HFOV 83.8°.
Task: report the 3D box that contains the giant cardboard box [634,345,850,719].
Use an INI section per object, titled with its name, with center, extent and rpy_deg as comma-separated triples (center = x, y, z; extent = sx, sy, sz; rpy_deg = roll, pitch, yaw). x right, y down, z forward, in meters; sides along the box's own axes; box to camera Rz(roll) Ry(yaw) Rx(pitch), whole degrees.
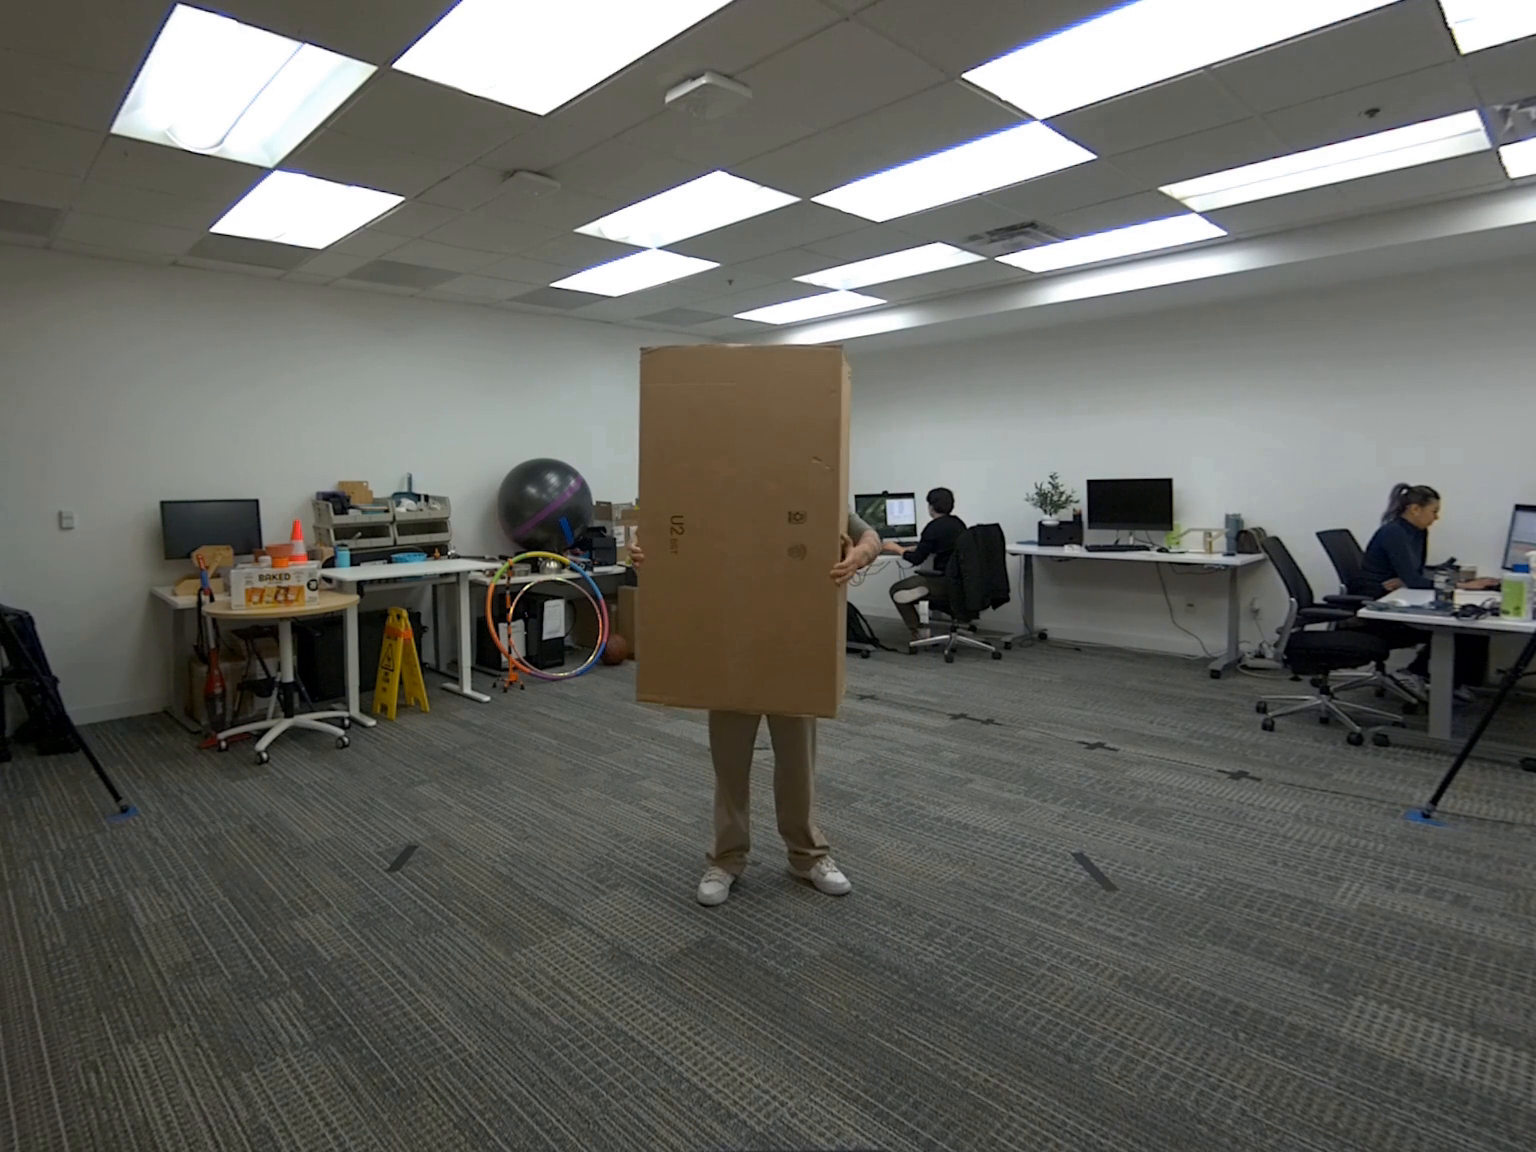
[giant cardboard box]
center = -0.056, -0.150, 2.572
extent = 0.584, 1.024, 0.422
rpy_deg = 1, 2, 10
